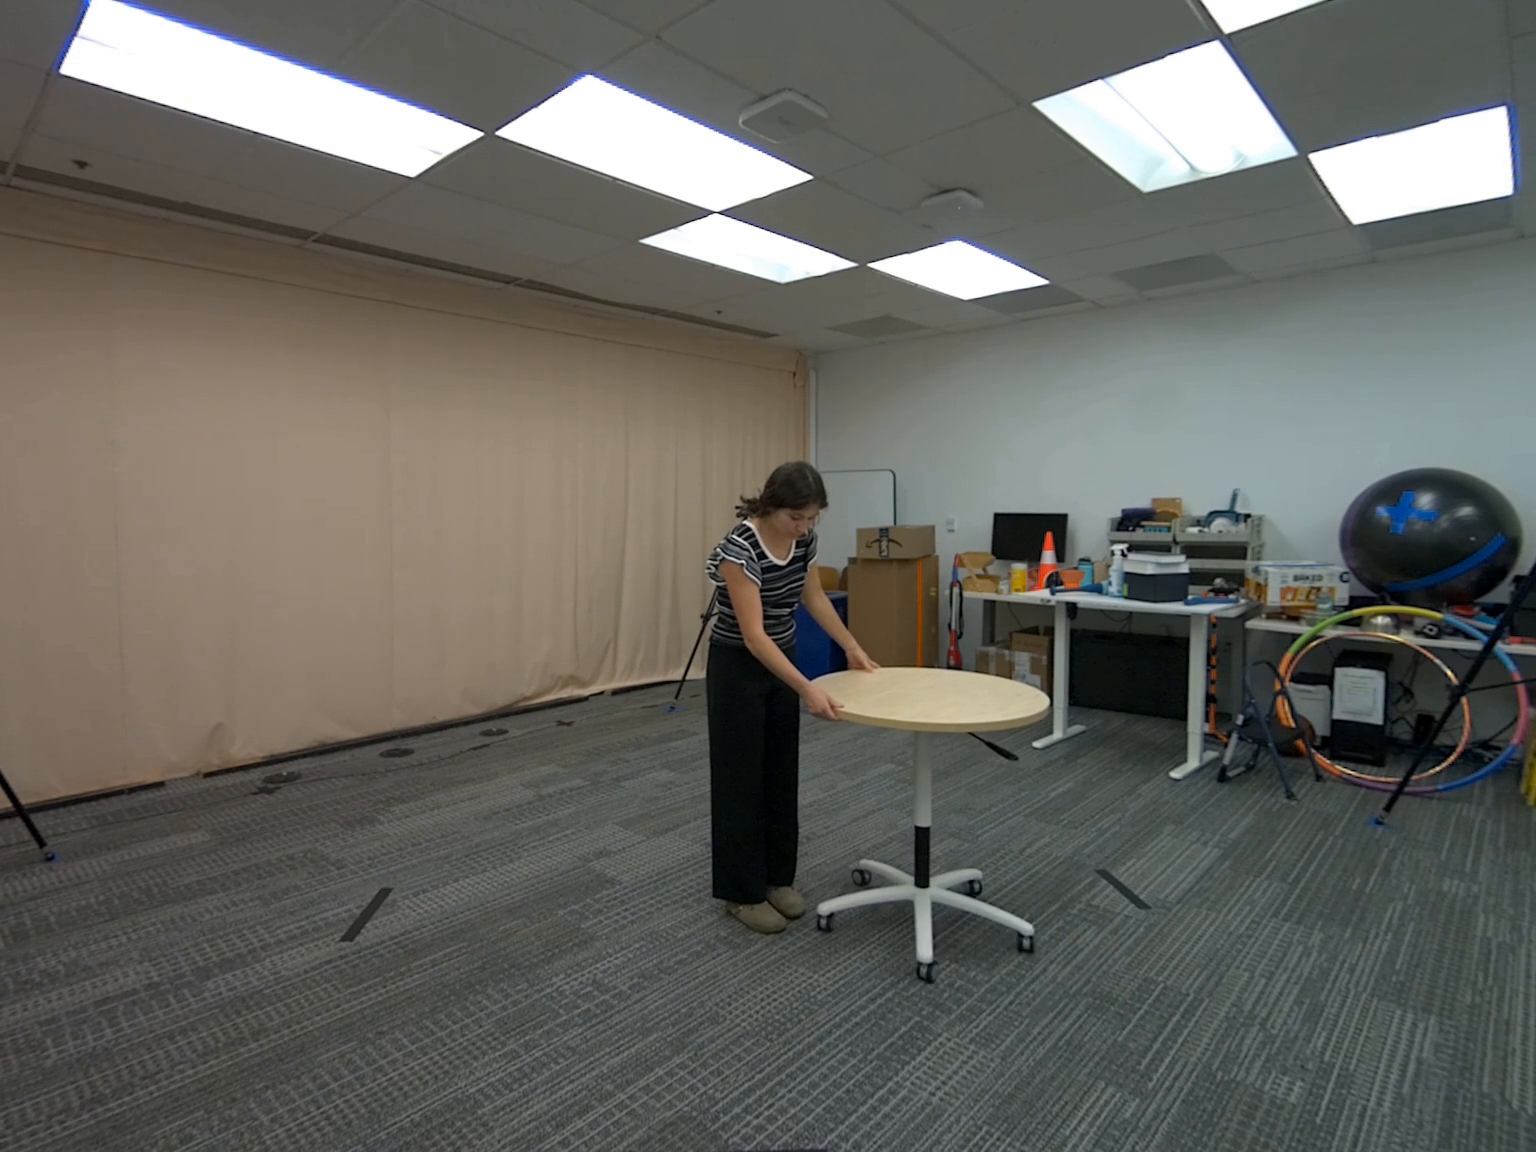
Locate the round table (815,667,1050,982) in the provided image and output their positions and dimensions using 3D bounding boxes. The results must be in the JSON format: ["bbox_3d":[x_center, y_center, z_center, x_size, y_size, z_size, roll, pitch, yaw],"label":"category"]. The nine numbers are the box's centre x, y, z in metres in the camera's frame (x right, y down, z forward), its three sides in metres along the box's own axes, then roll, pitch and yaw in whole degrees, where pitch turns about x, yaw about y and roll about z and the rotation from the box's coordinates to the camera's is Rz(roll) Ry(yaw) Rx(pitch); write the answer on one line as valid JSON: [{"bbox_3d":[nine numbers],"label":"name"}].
[{"bbox_3d":[0.498,0.766,2.763,0.784,0.784,0.788,0,4,-2],"label":"round table"}]
